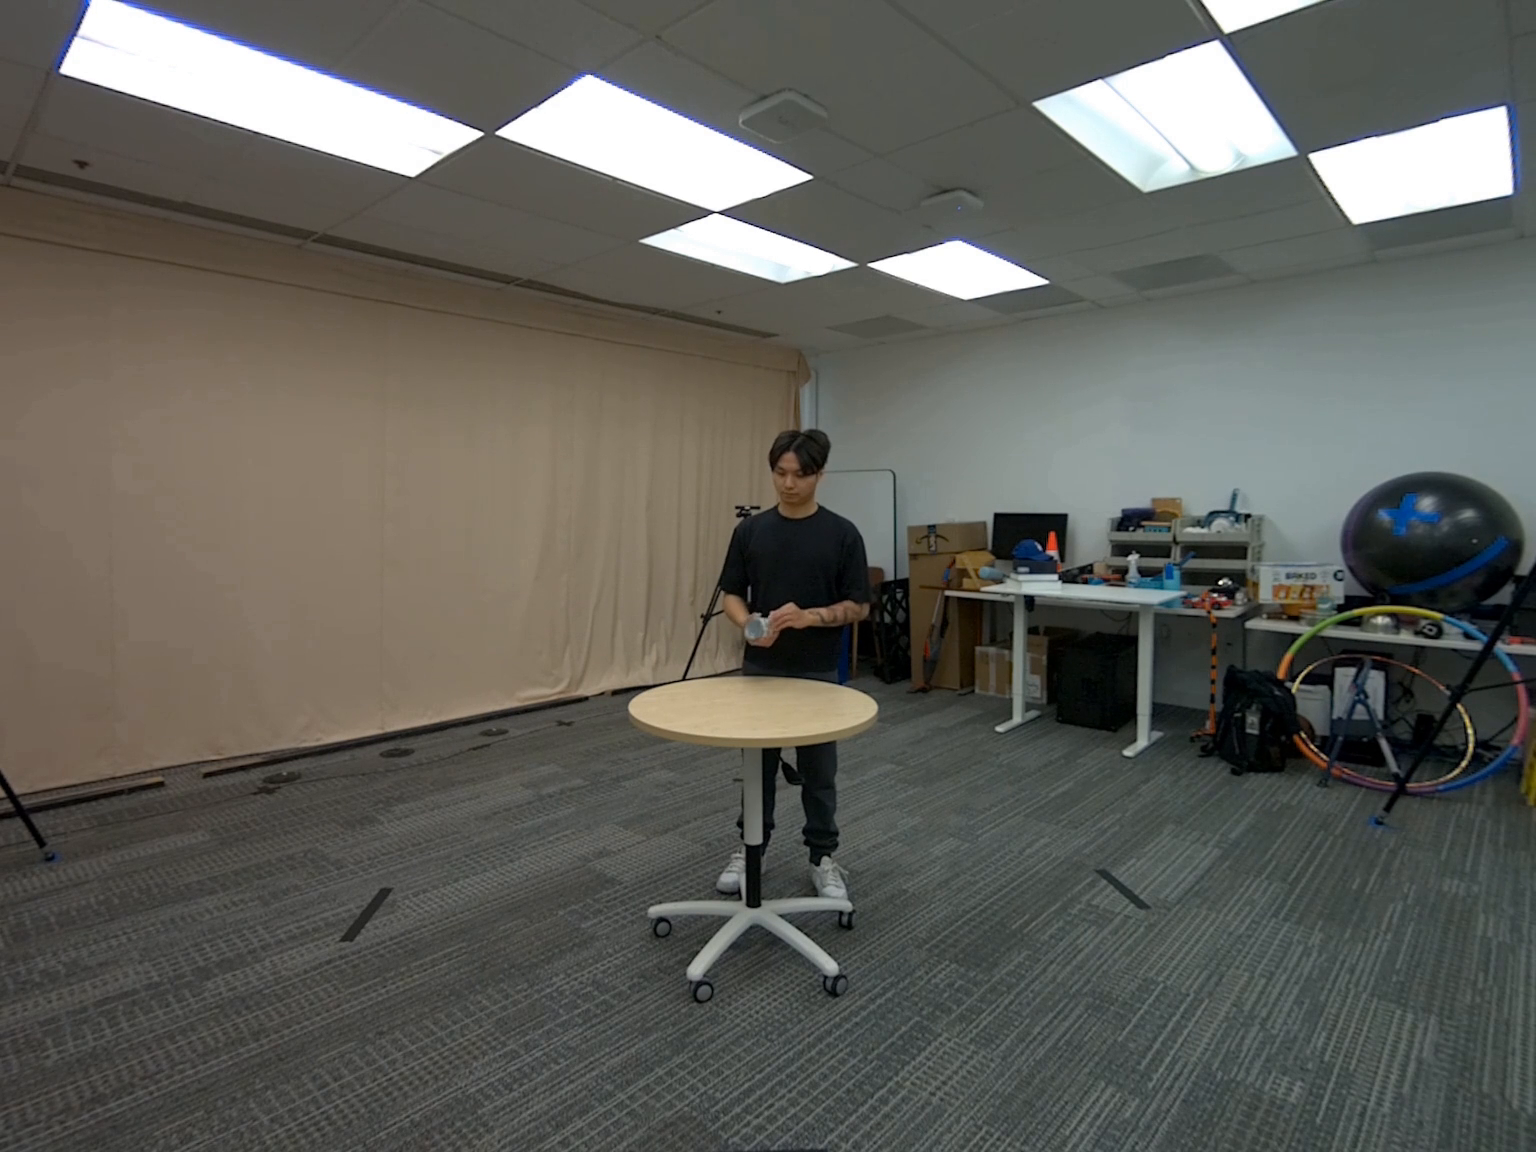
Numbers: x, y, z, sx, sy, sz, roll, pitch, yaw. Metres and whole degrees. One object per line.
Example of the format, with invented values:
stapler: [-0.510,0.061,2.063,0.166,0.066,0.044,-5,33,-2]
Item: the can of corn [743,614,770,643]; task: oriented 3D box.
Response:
can of corn: [-0.037,0.175,2.860,0.075,0.074,0.110,0,3,7]
